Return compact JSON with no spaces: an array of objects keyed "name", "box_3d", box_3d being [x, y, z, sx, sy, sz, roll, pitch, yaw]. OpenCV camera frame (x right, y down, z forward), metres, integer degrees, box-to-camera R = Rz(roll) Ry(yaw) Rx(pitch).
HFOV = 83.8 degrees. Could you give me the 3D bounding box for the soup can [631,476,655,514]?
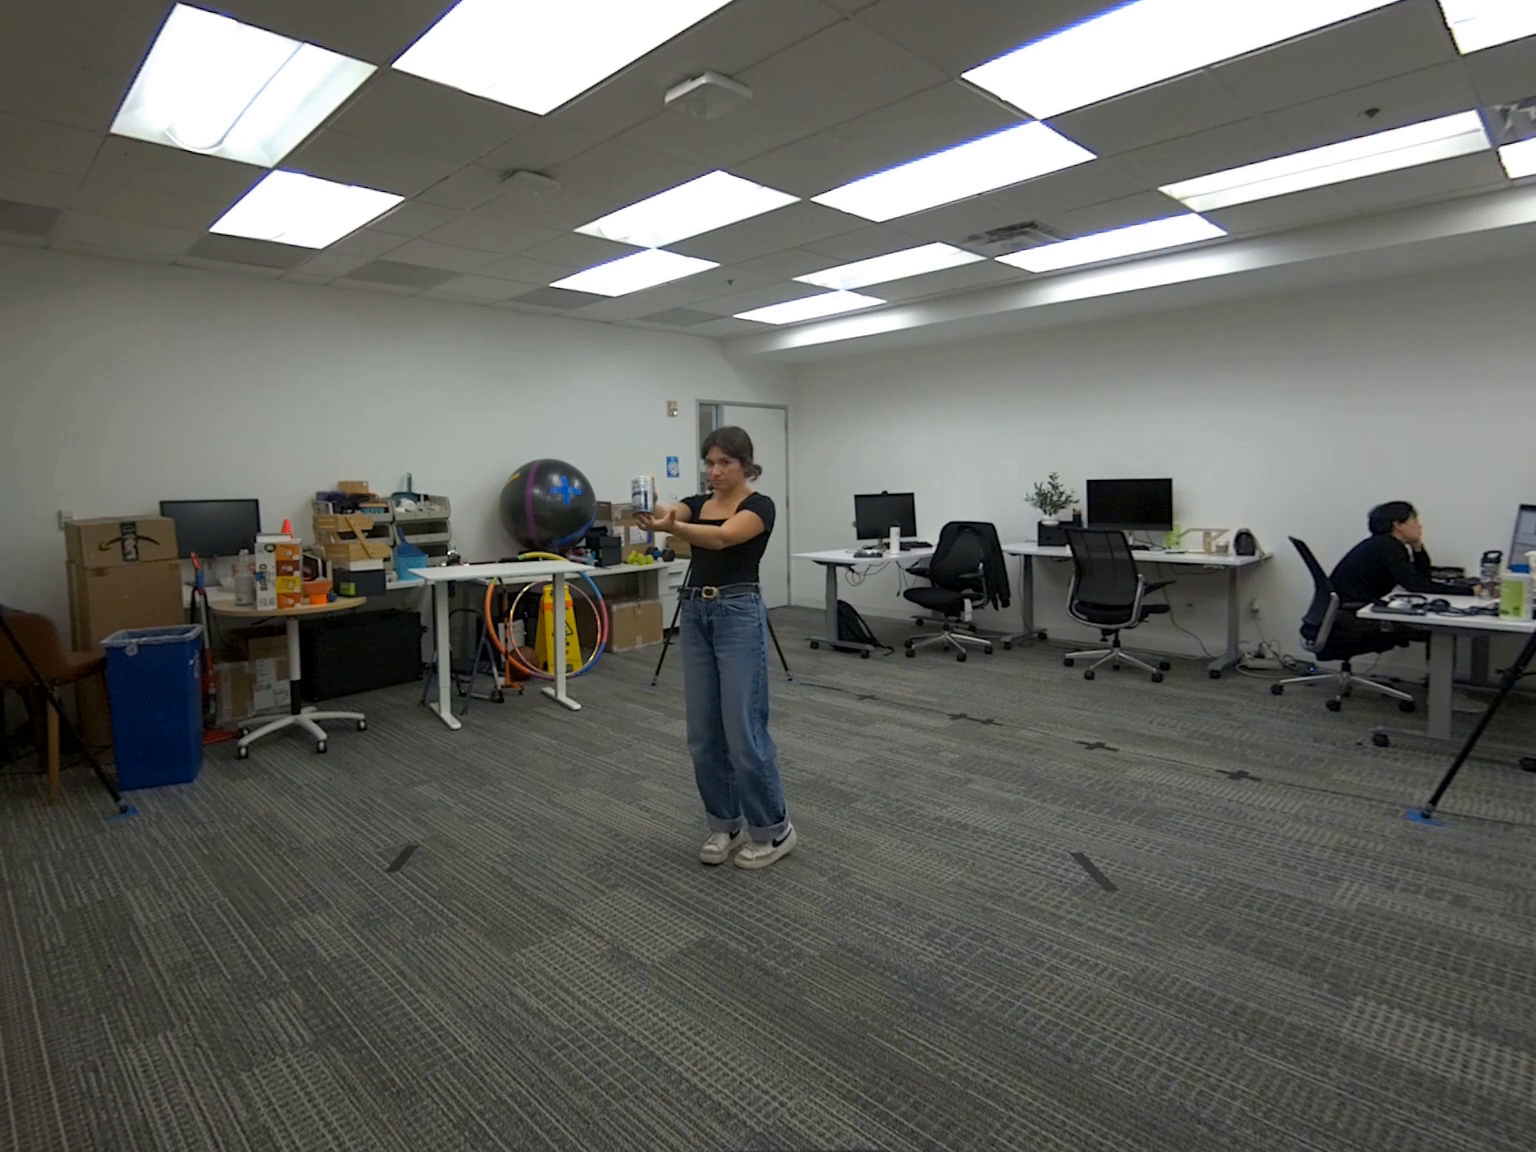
[{"name":"soup can","box_3d":[-0.398,-0.249,2.672,0.067,0.123,0.066,-3,-16,-2]}]
